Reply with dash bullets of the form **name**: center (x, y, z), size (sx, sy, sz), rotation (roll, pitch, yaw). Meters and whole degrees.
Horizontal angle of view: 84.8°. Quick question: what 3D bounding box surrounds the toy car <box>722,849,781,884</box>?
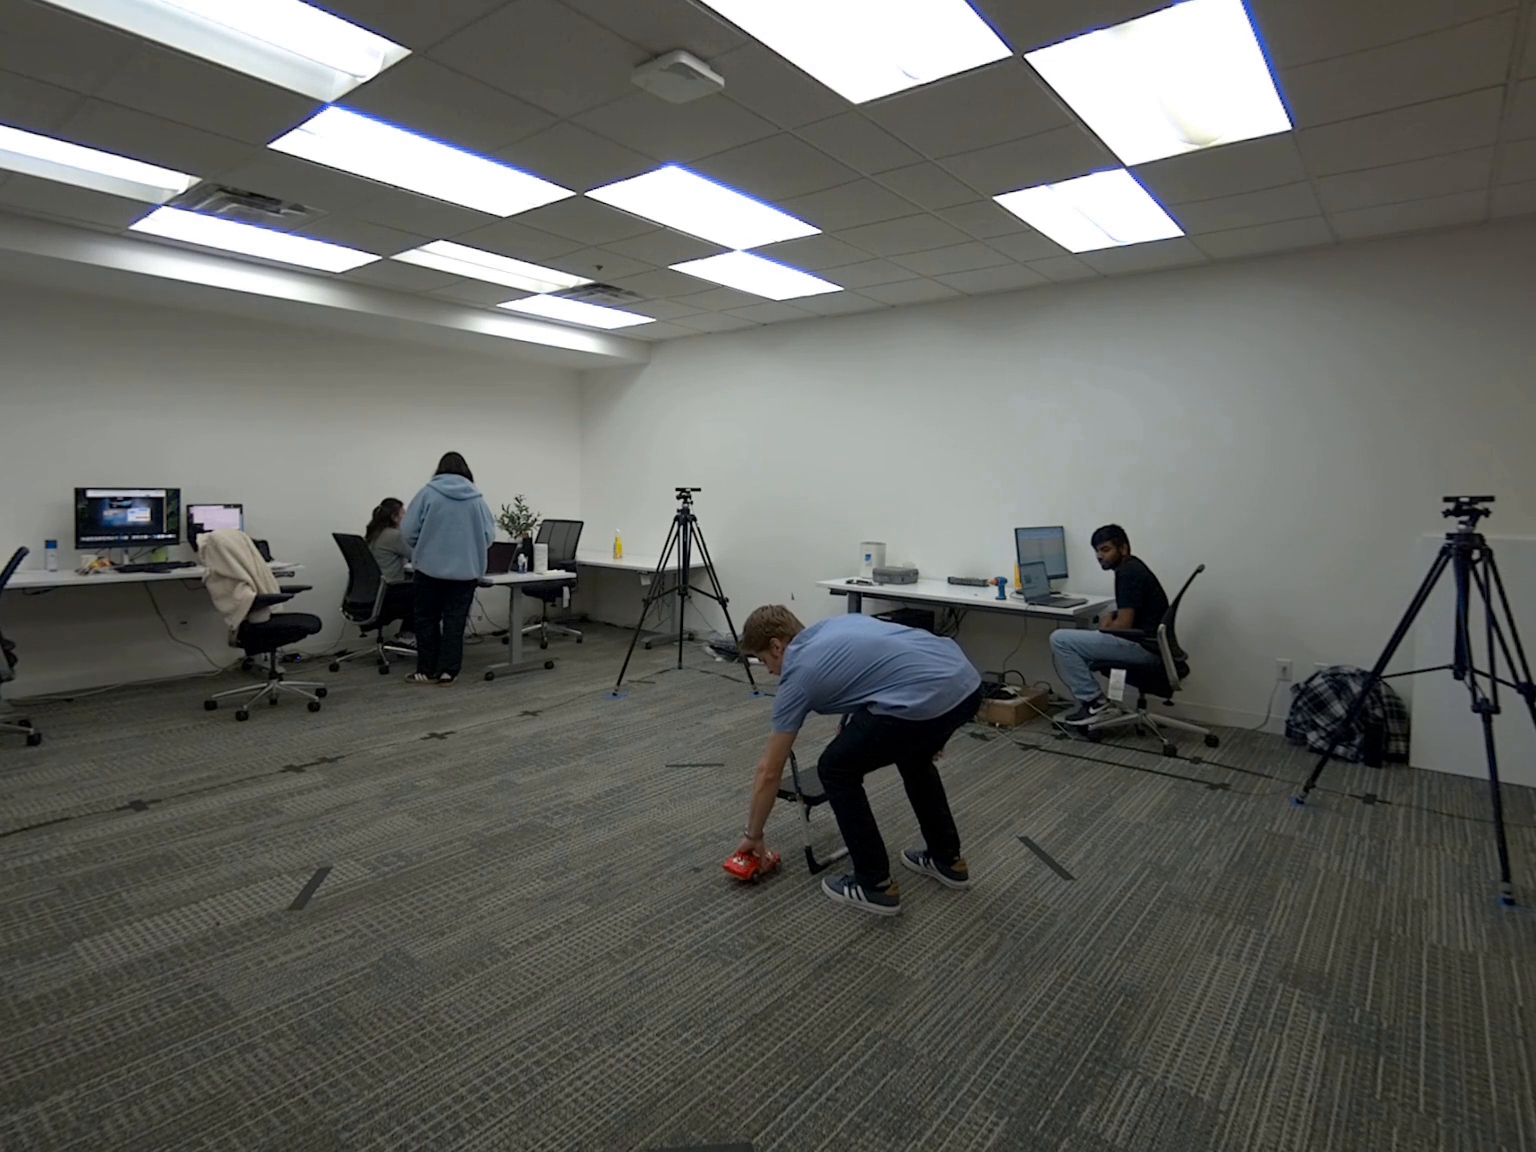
- **toy car**: center (-0.069, 1.034, 3.052), size (0.135, 0.083, 0.245), rotation (9, -4, 38)
